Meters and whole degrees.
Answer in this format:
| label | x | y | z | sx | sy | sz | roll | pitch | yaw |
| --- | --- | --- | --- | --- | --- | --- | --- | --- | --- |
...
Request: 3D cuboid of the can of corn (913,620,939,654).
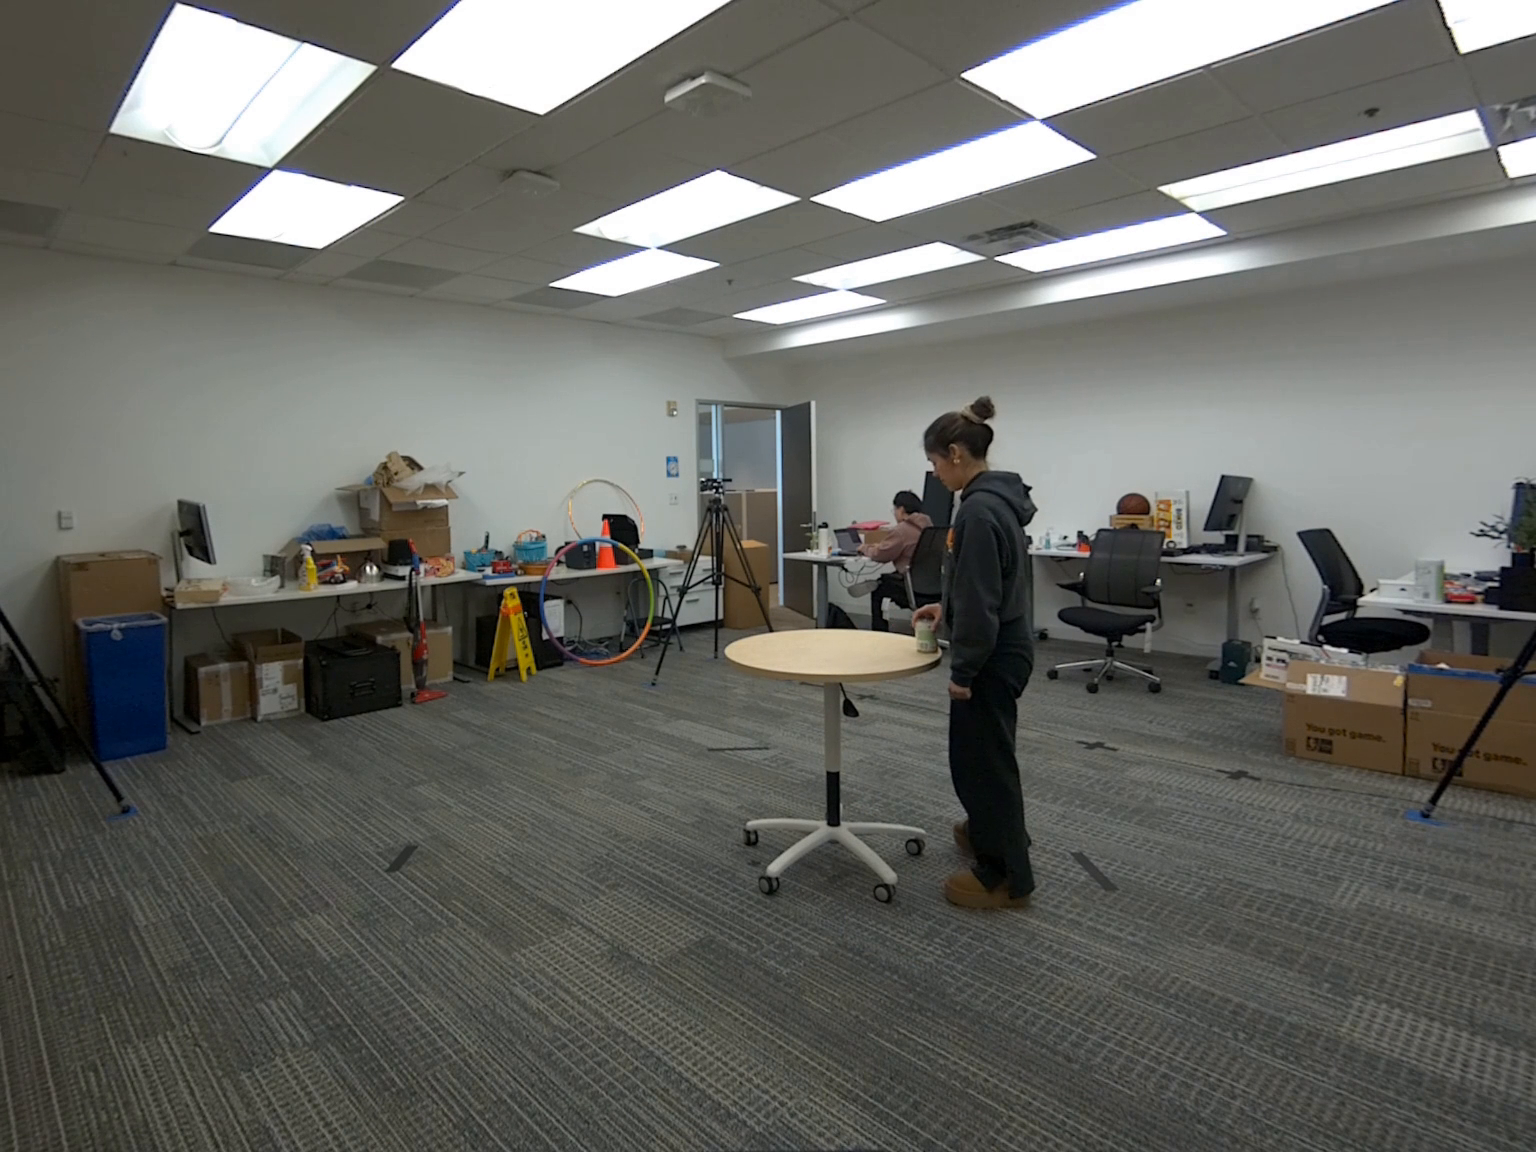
| label | x | y | z | sx | sy | sz | roll | pitch | yaw |
| --- | --- | --- | --- | --- | --- | --- | --- | --- | --- |
| can of corn | 0.549 | 0.201 | 2.982 | 0.074 | 0.111 | 0.074 | -2 | 3 | -2 |
